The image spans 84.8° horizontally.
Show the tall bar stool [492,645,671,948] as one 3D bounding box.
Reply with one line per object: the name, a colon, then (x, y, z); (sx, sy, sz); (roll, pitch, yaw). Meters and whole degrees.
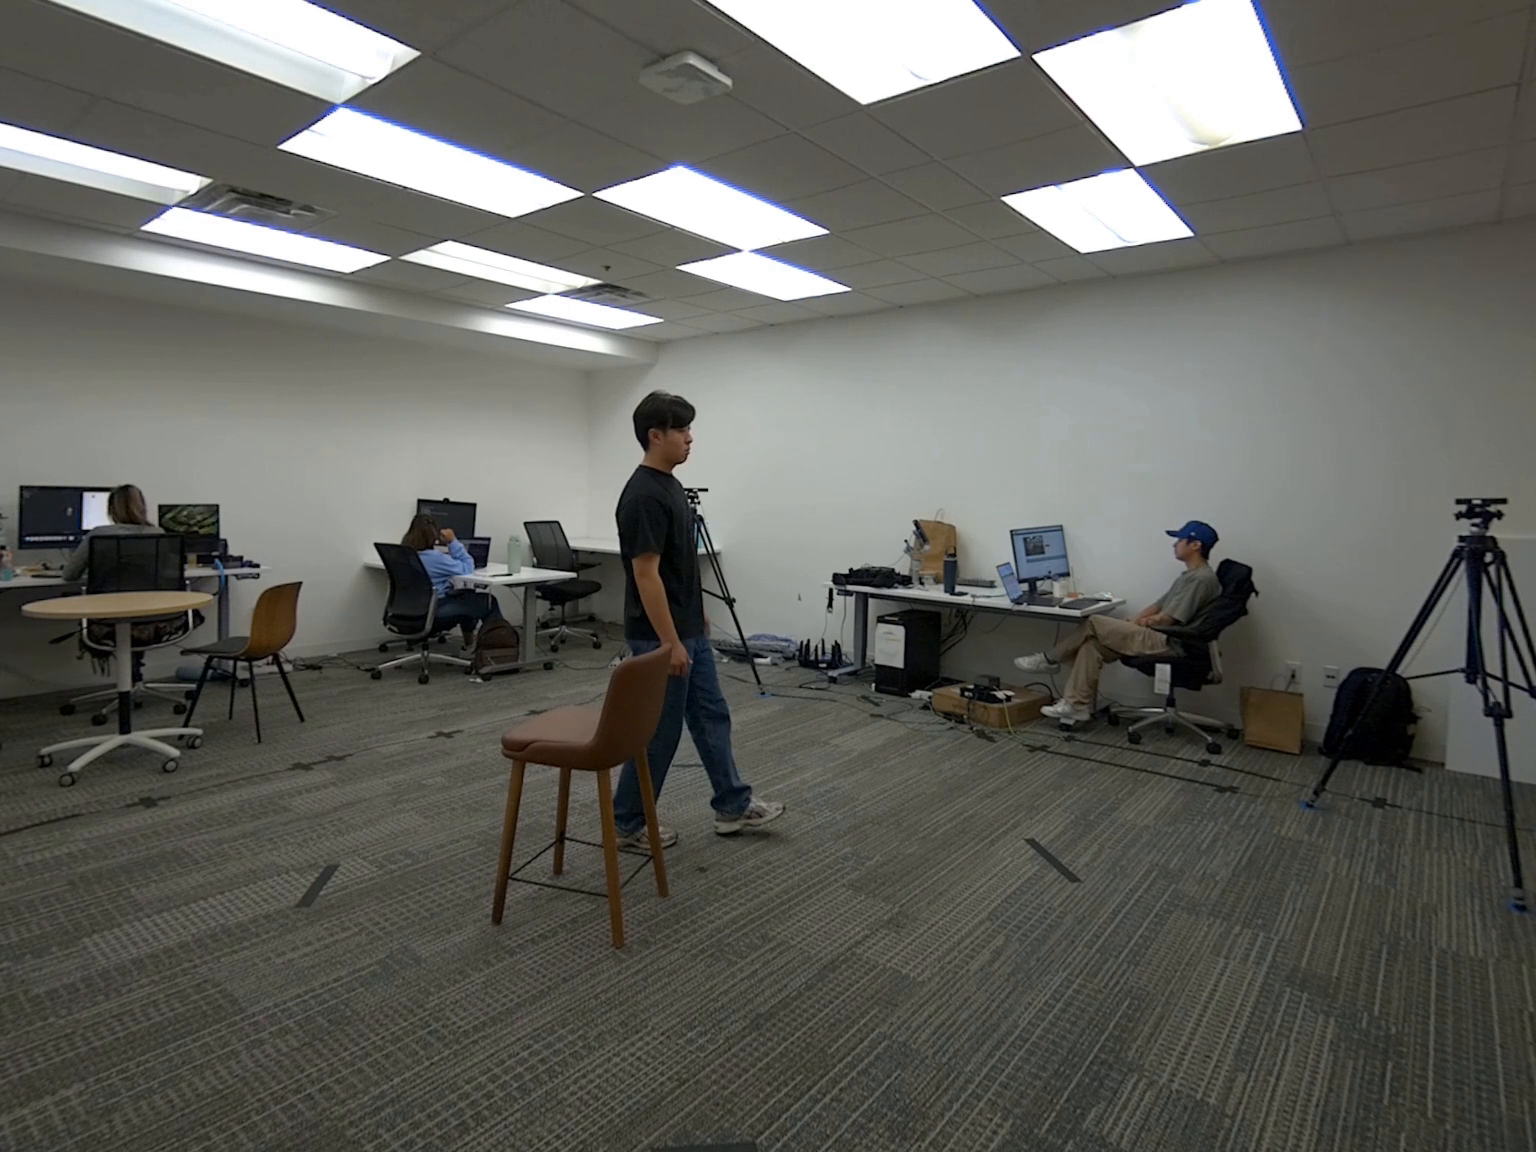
tall bar stool: (-0.606, 0.660, 2.779); (0.478, 0.887, 0.448); (4, 4, 19)
